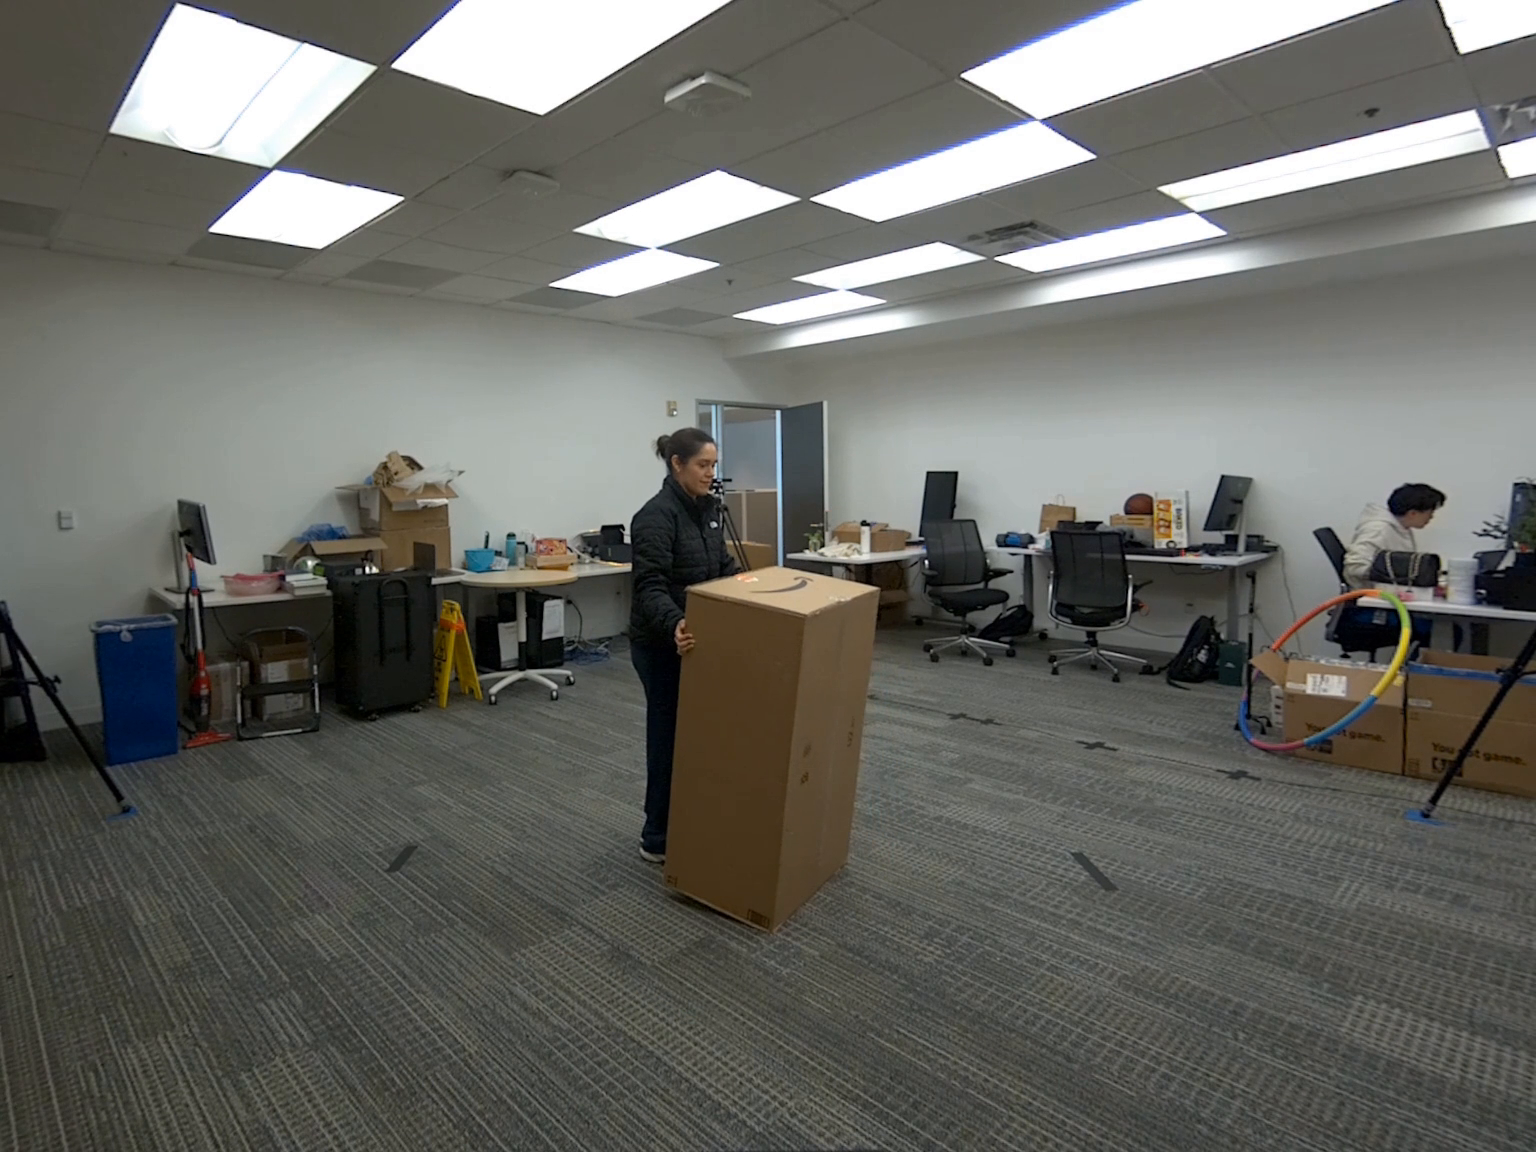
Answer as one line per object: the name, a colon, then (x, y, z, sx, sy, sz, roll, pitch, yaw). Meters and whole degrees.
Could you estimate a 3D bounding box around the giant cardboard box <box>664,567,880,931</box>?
giant cardboard box: (0.014, 0.536, 2.900, 0.439, 1.018, 0.565, 11, 11, 29)
